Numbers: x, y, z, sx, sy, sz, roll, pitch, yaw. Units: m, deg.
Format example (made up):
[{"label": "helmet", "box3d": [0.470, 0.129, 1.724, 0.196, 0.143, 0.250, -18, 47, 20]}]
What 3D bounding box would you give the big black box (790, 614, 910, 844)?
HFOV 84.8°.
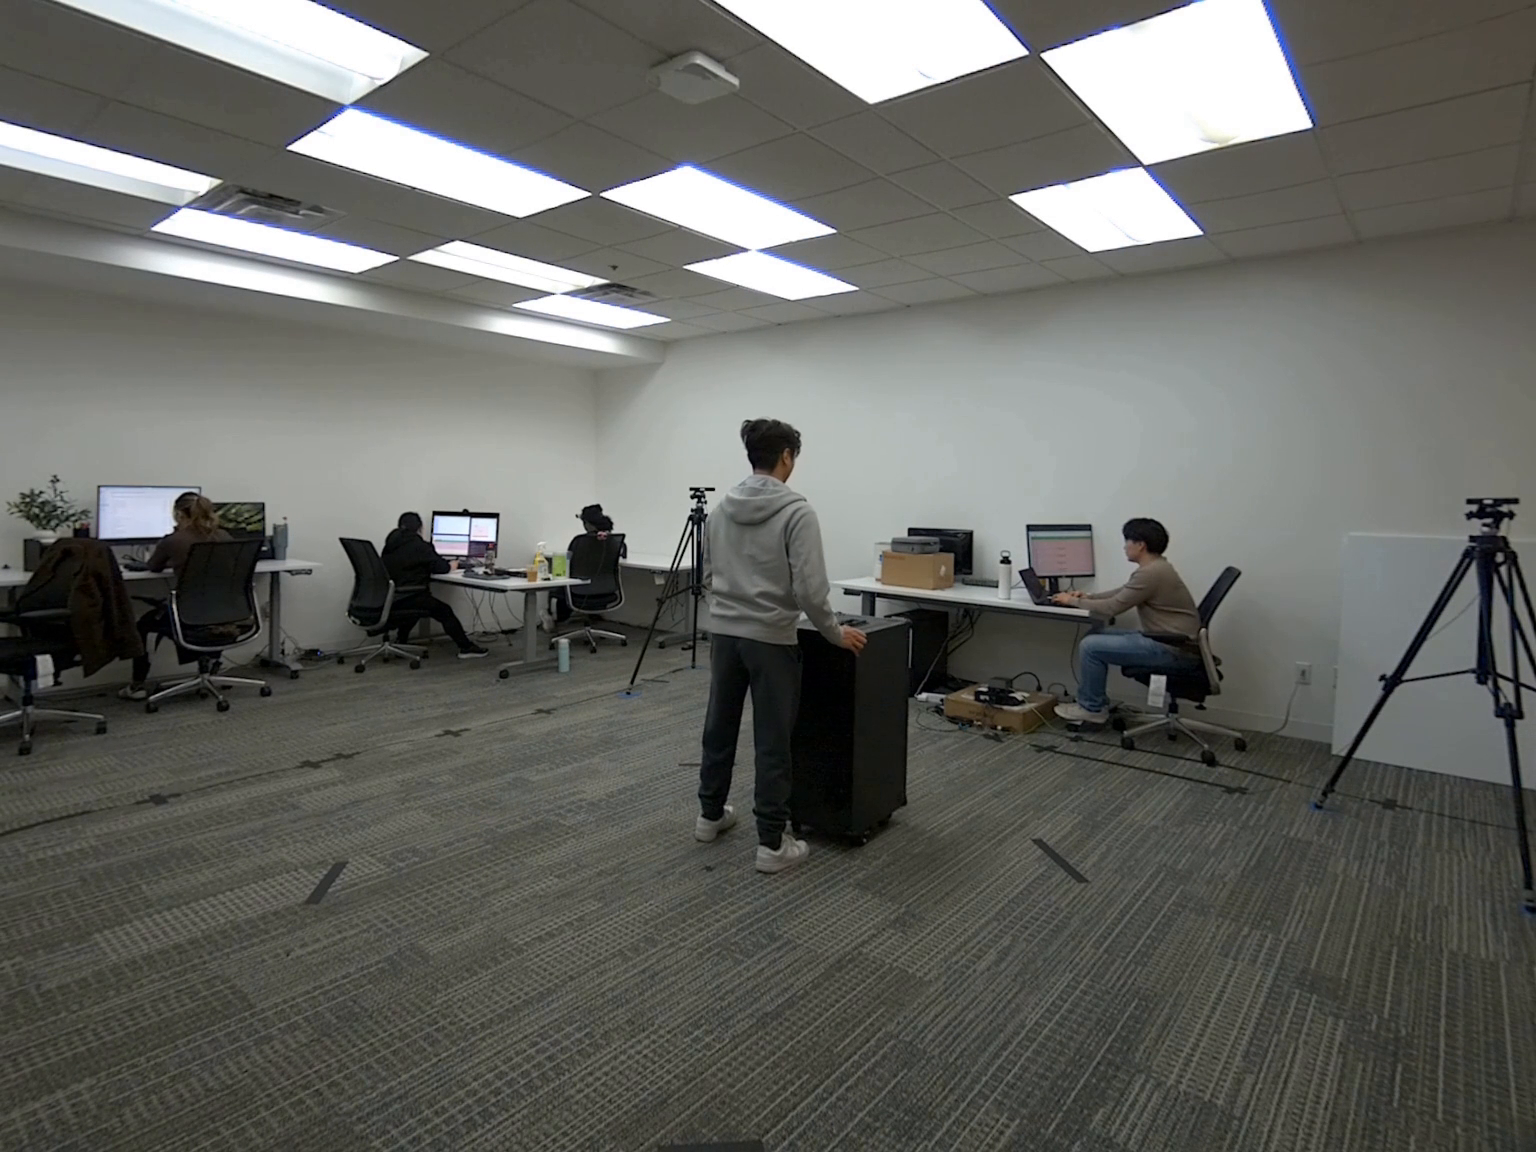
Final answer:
[{"label": "big black box", "box3d": [0.298, 0.615, 3.510, 0.409, 0.859, 0.506, 3, 5, 36]}]
